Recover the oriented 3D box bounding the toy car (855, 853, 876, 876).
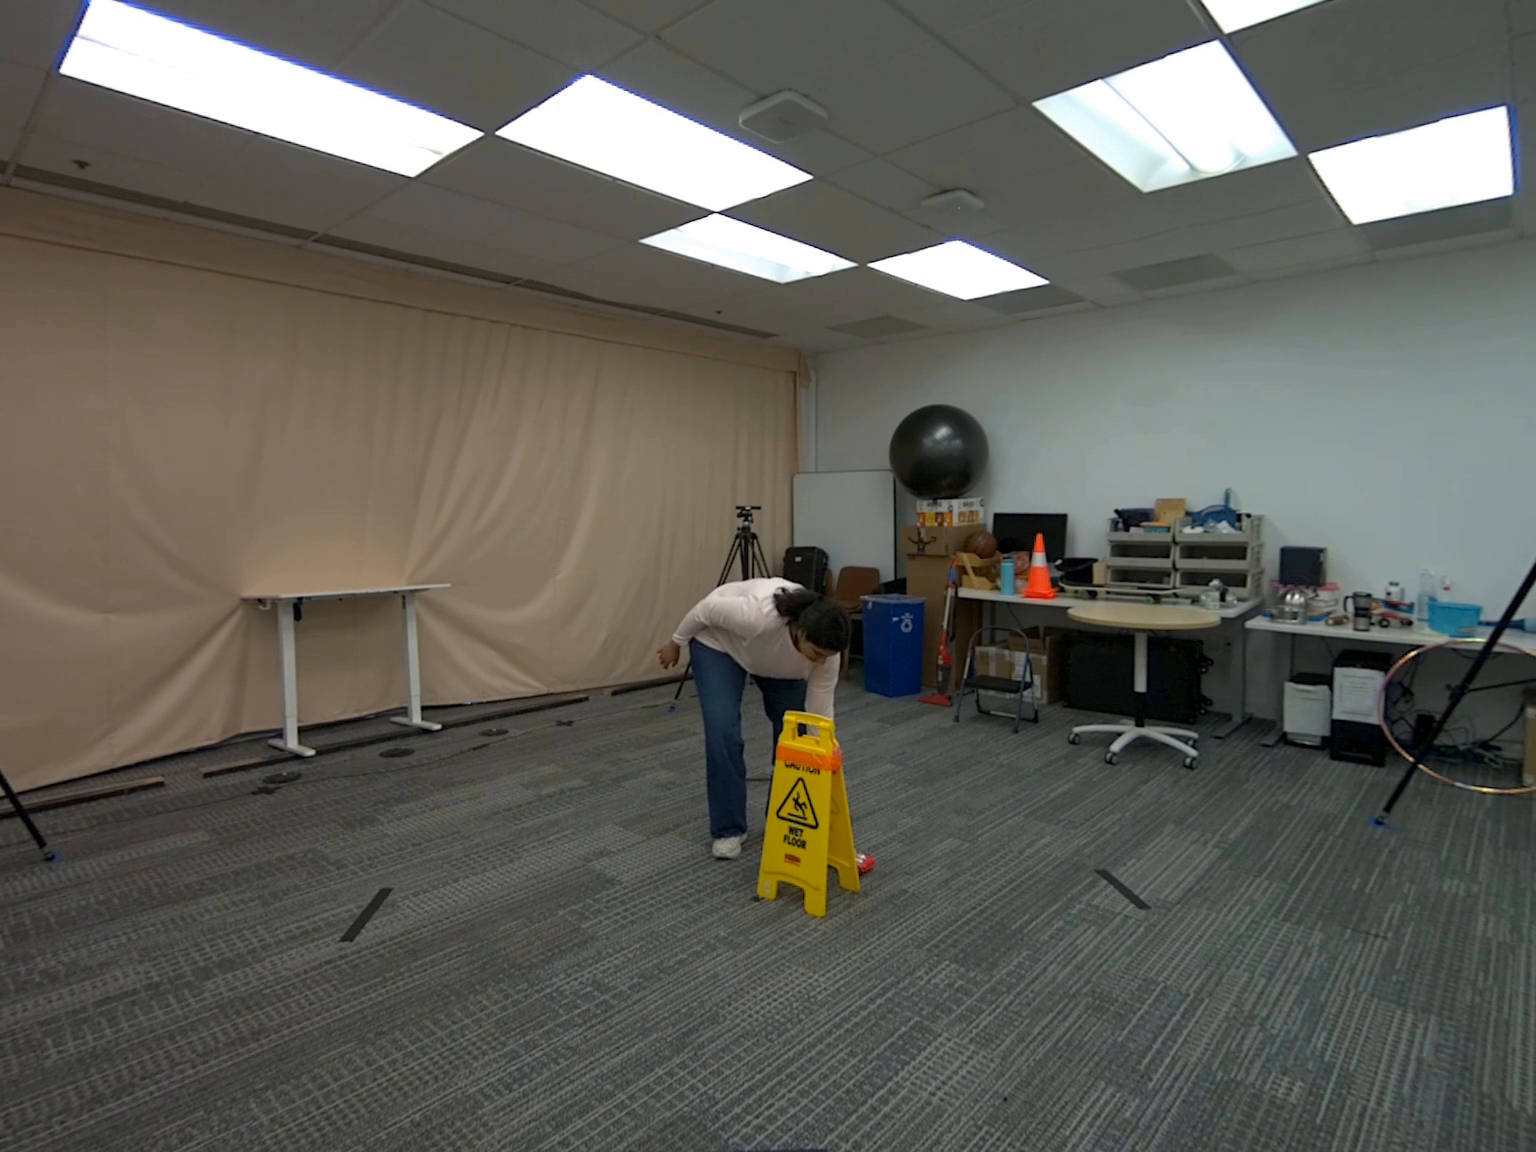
[{"bbox_3d":[0.291,1.089,3.258,0.263,0.083,0.126,16,13,36],"label":"toy car"}]
